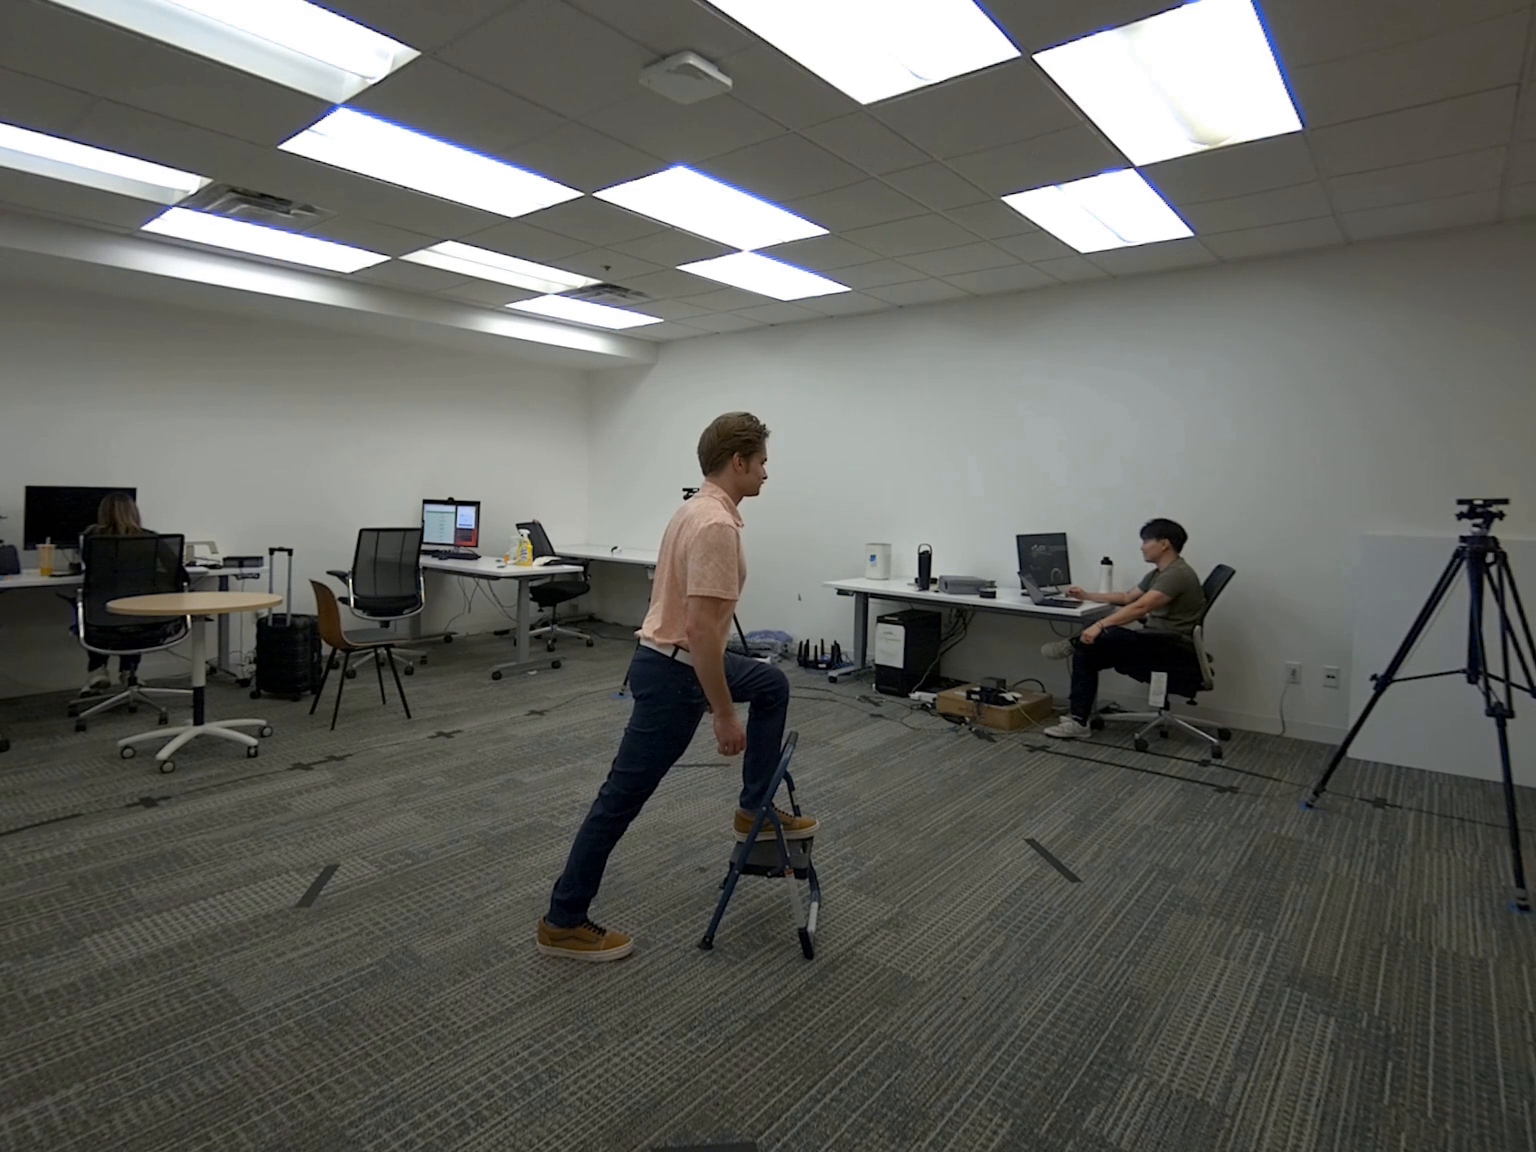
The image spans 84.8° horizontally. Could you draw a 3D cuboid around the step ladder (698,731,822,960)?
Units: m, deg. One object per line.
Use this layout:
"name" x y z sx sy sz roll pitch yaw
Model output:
"step ladder" -0.012 0.807 2.733 0.352 0.604 0.428 2 4 7
